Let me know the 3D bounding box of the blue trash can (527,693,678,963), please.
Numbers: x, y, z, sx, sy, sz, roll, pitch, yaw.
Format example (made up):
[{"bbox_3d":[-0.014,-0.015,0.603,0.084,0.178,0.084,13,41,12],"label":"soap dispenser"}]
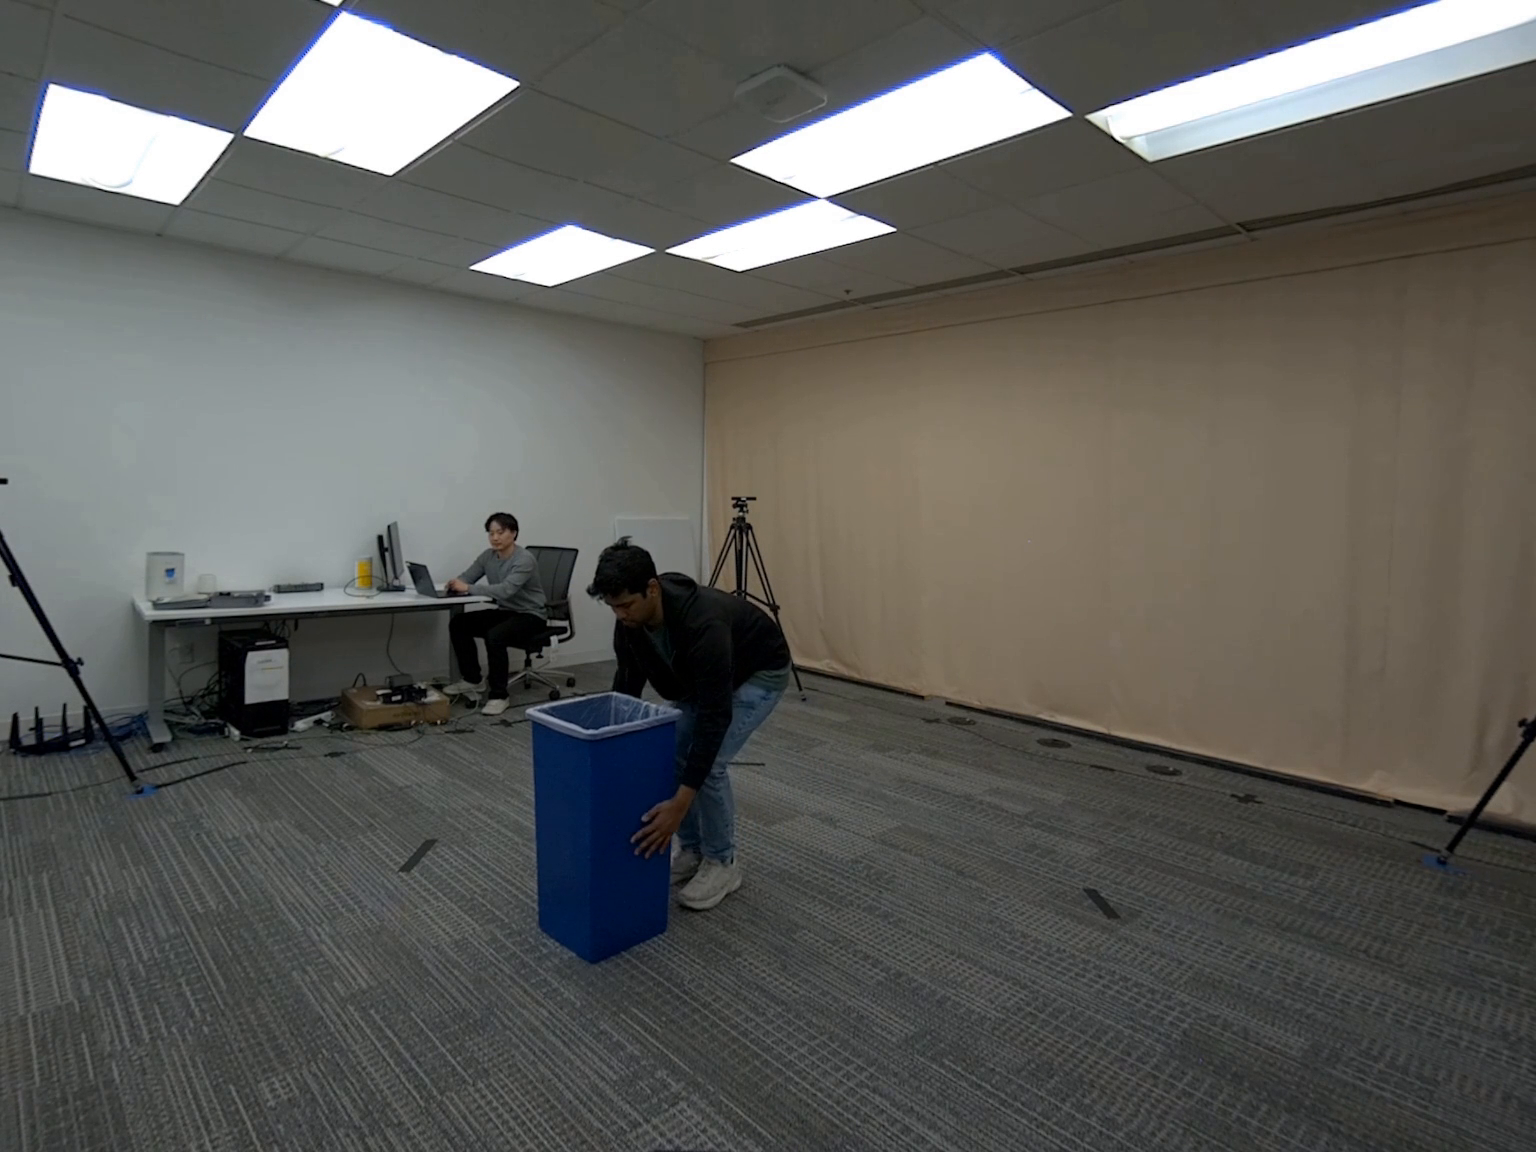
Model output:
[{"bbox_3d":[-0.536,0.783,2.671,0.387,0.712,0.365,4,4,43],"label":"blue trash can"}]
